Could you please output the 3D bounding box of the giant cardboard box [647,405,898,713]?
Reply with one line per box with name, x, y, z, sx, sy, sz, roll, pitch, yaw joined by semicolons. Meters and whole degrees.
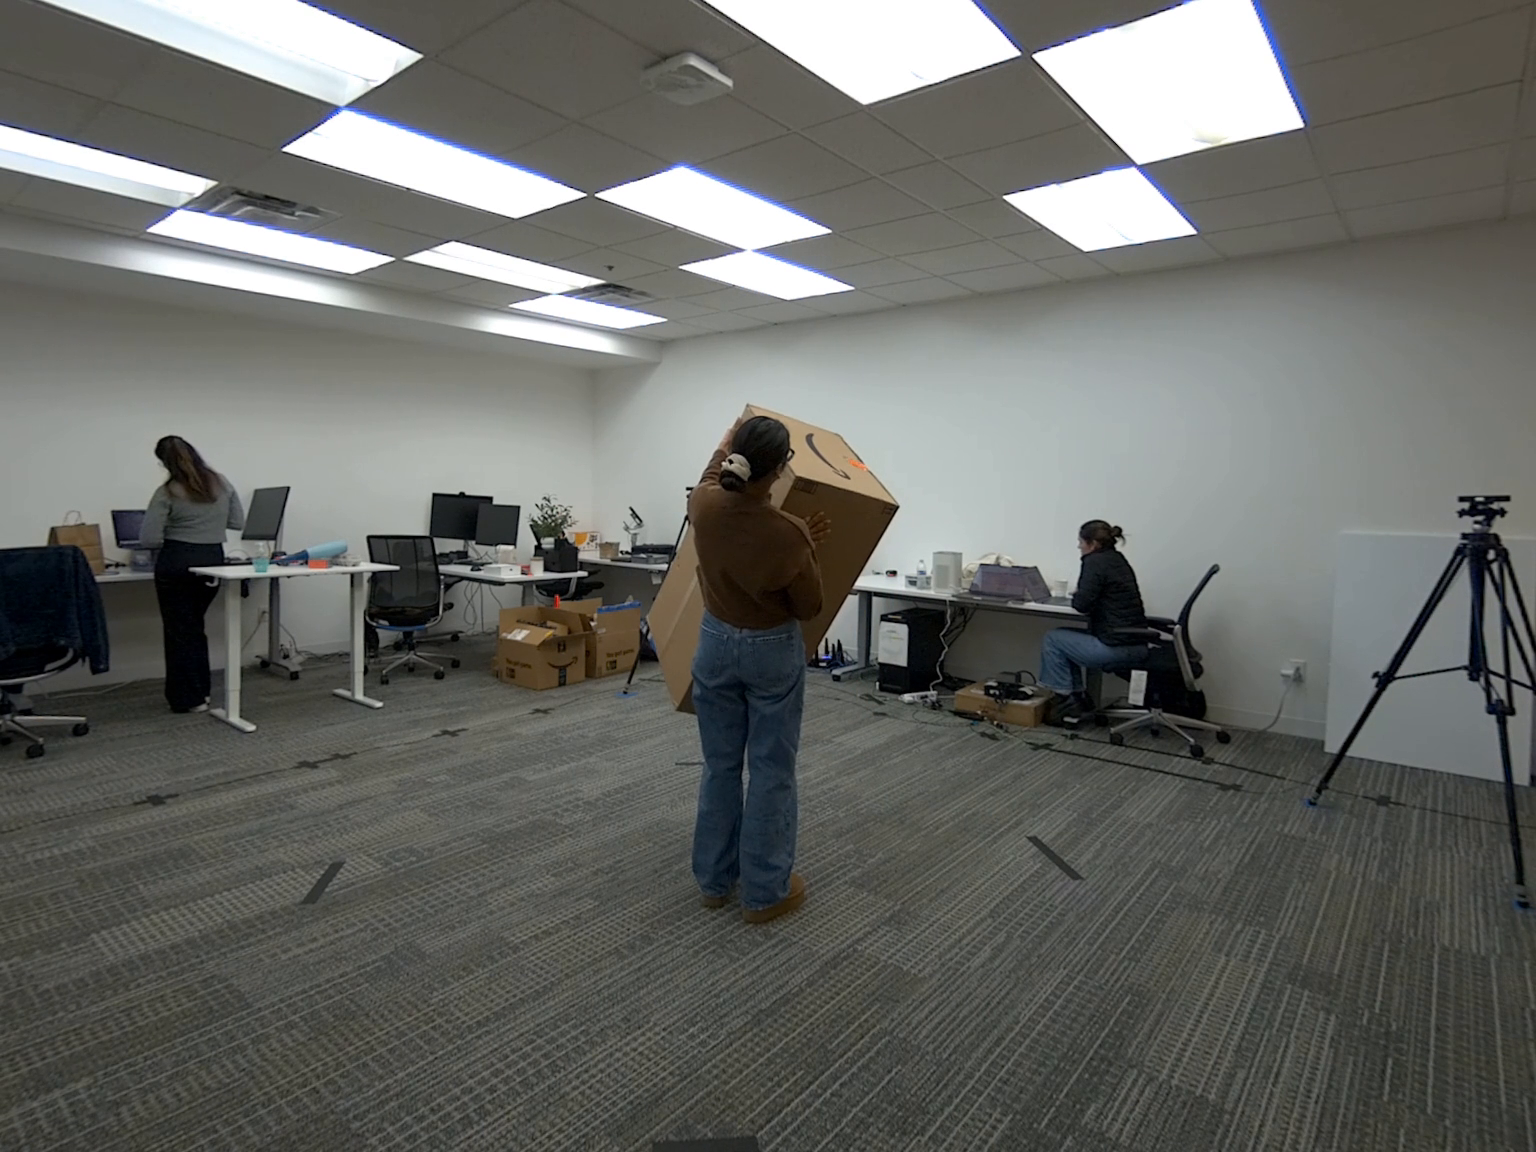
giant cardboard box;-0.038;-0.039;3.233;0.414;1.017;0.600;14;27;-27
